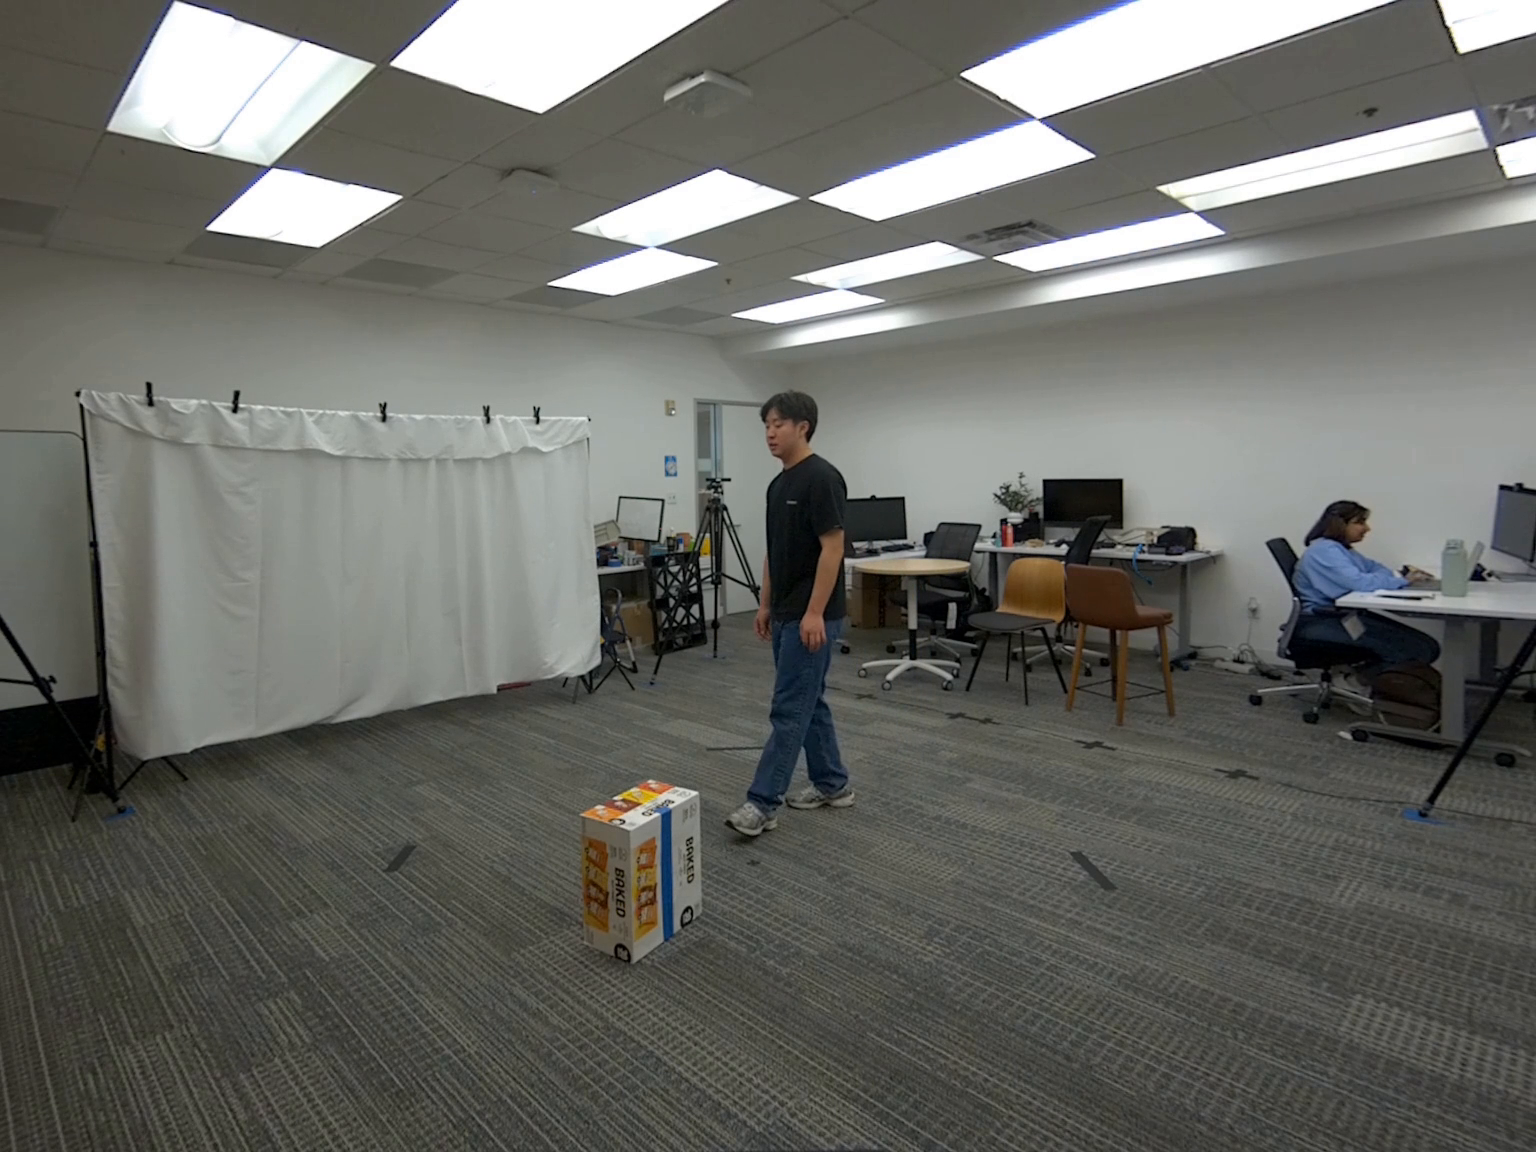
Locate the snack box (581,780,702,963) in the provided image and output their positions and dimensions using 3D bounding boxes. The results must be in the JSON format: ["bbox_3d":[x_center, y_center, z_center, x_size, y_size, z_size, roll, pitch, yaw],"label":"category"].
[{"bbox_3d":[-0.384,0.899,2.648,0.211,0.403,0.332,2,6,33],"label":"snack box"}]
